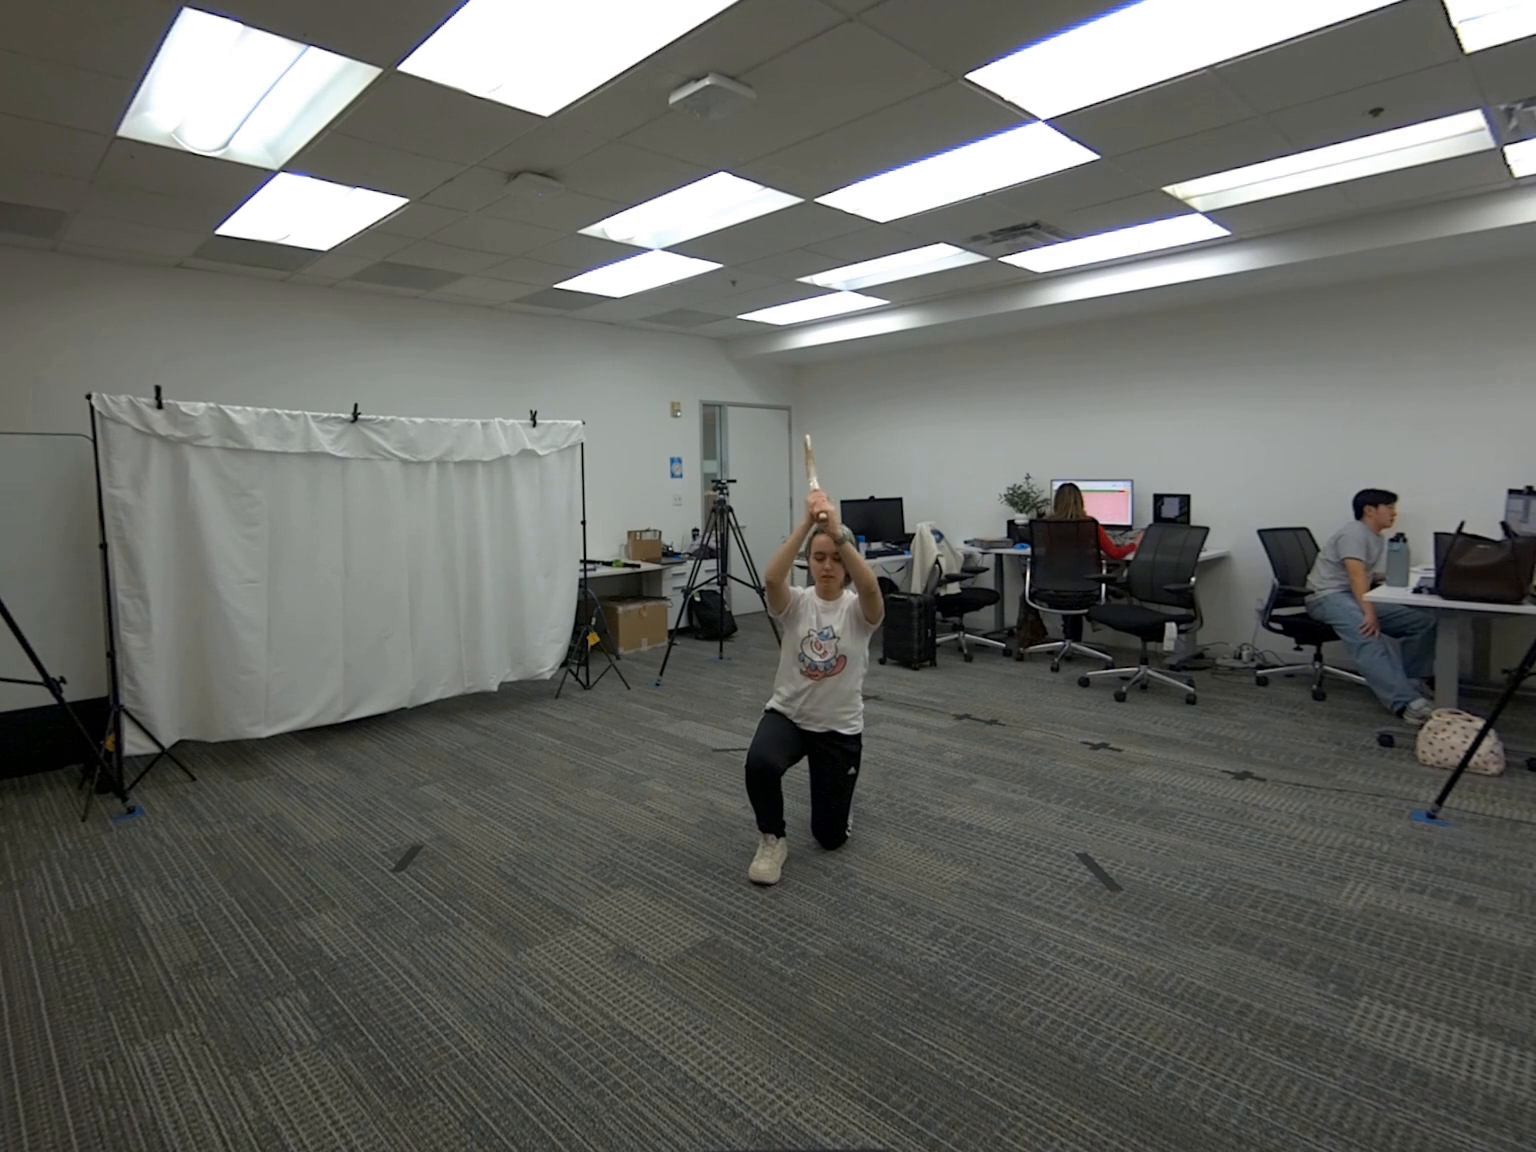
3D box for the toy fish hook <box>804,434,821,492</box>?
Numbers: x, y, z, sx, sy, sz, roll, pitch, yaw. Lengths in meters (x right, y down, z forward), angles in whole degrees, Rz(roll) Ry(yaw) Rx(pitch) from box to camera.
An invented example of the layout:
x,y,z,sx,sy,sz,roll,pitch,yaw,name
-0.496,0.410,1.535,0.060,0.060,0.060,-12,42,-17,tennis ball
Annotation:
x,y,z,sx,sy,sz,roll,pitch,yaw,name
0.164,-0.335,2.992,0.048,0.219,0.517,-11,25,3,toy fish hook
